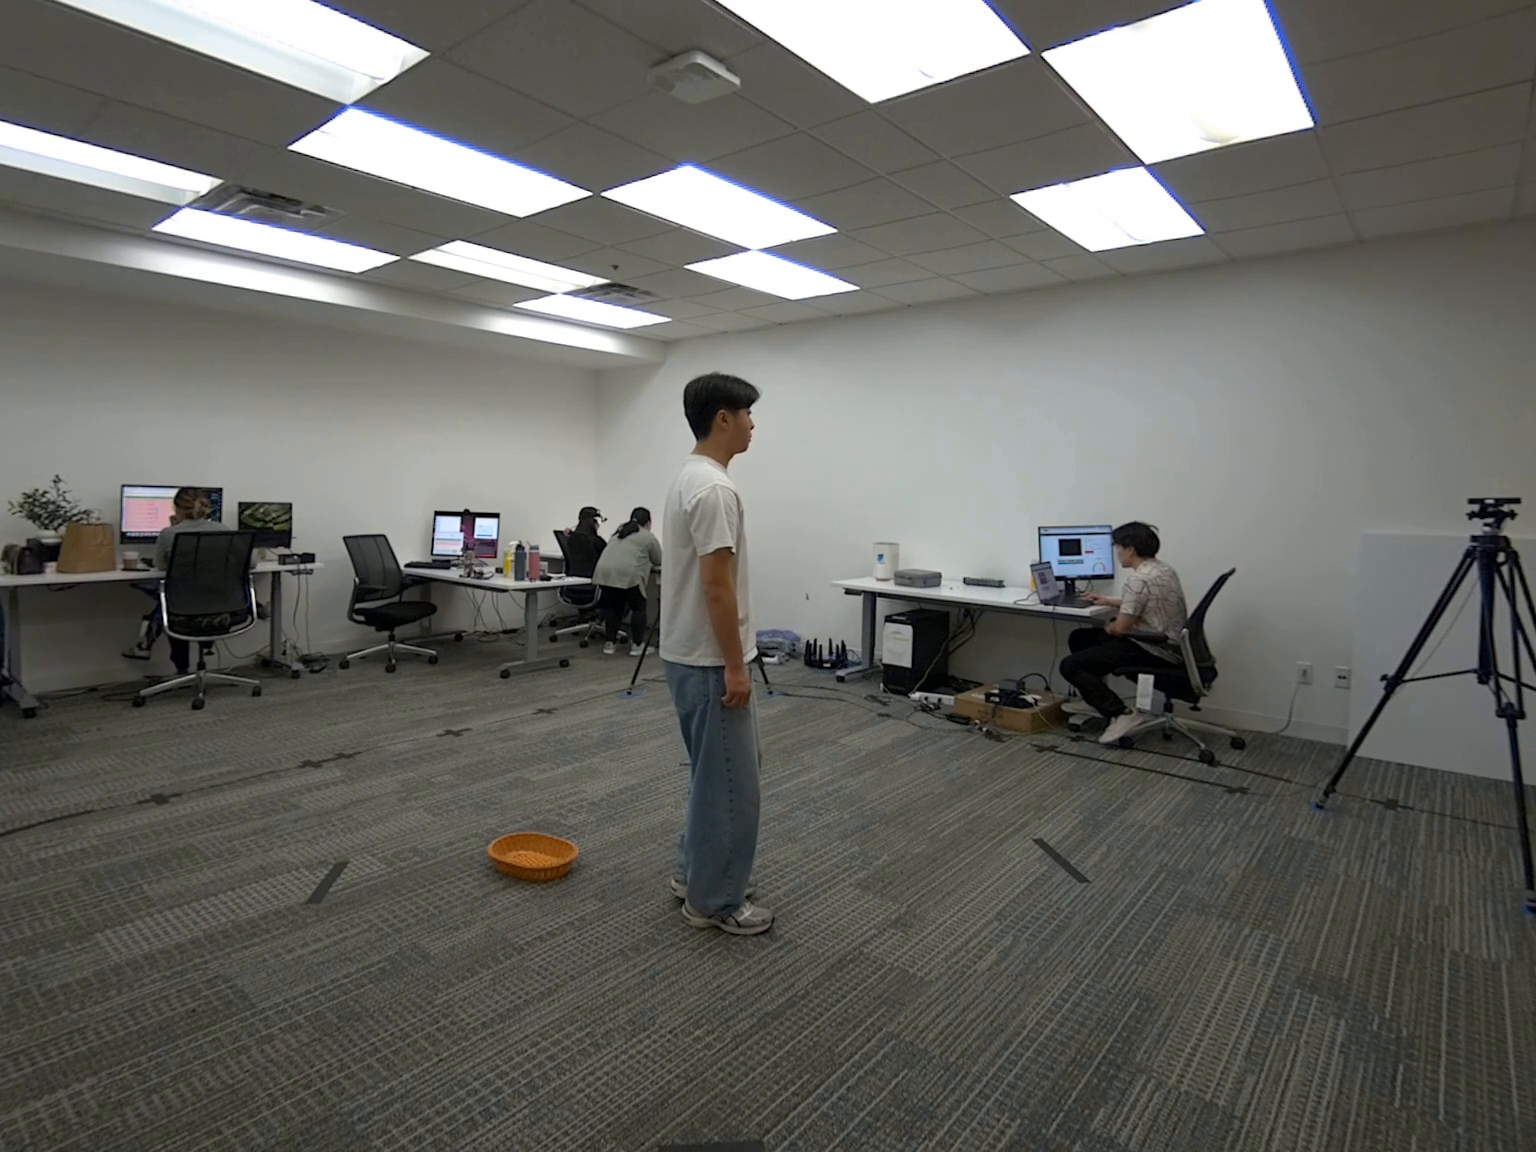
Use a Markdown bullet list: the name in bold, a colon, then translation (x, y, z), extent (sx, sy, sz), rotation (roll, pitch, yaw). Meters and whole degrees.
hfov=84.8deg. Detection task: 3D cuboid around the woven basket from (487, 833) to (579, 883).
- **woven basket**: translation (-0.864, 1.018, 3.085), extent (0.361, 0.073, 0.246), rotation (6, 7, 32)
